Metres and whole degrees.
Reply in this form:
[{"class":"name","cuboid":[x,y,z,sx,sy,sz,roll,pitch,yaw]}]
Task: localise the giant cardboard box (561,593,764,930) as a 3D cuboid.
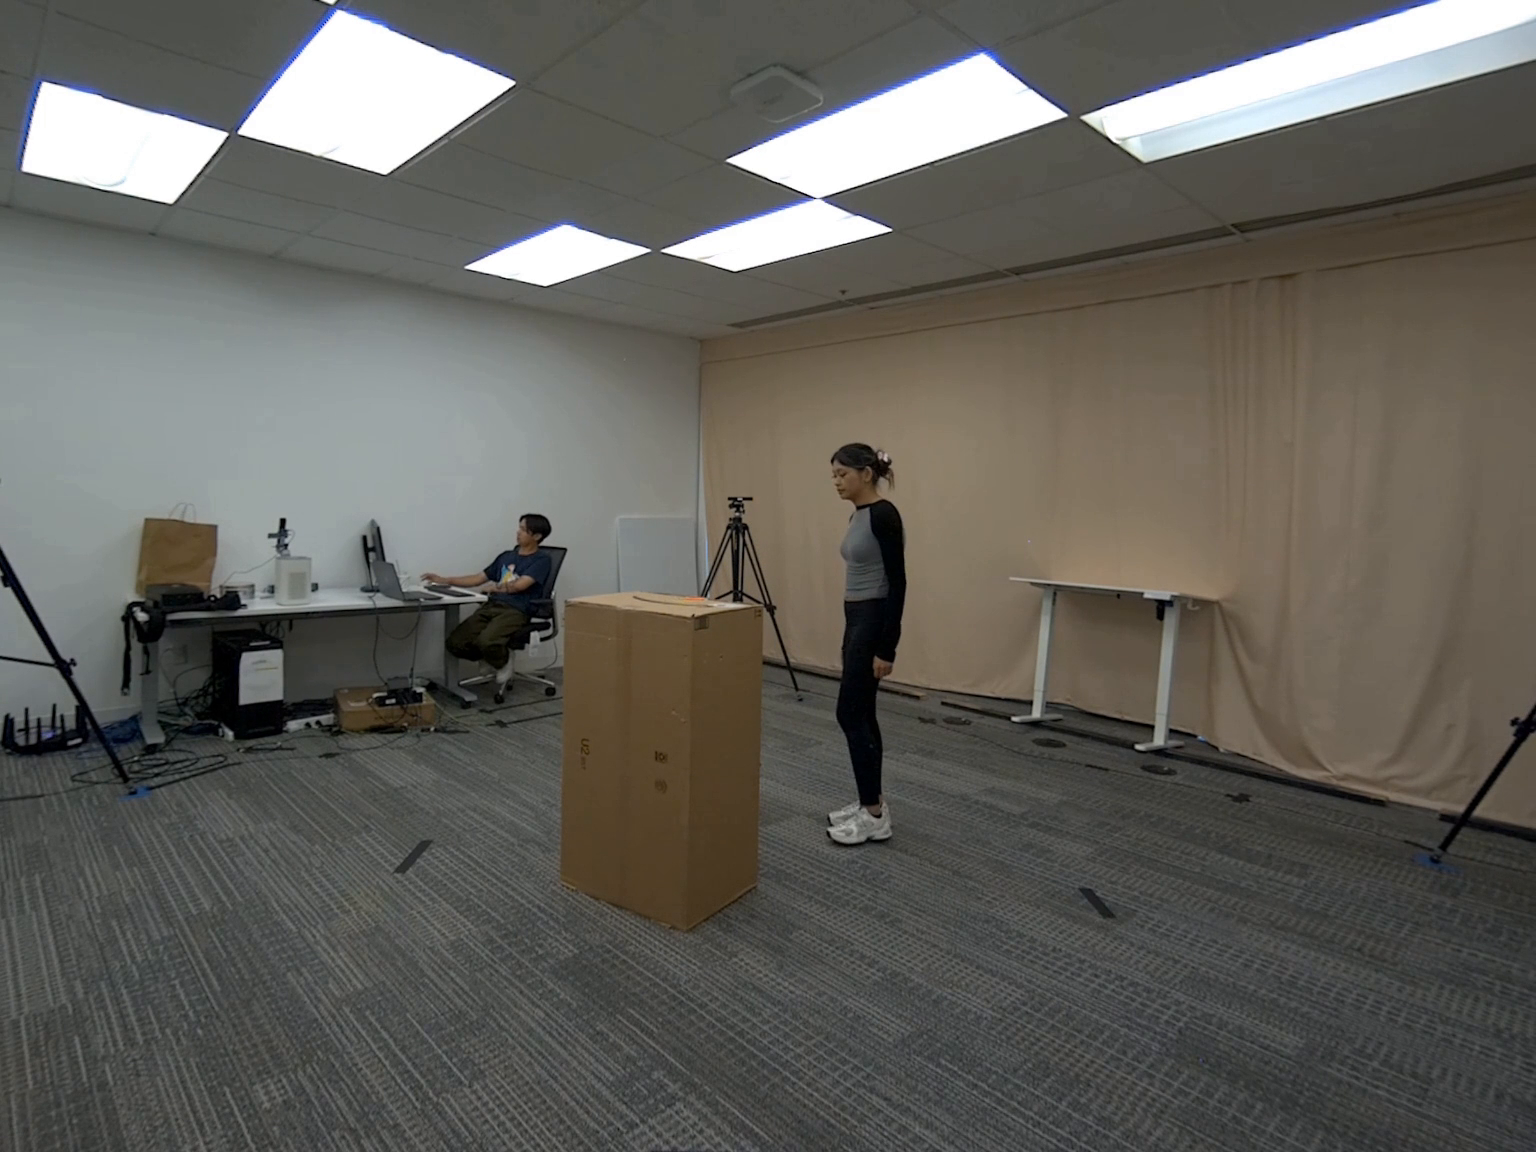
[{"class":"giant cardboard box","cuboid":[-0.383,0.603,3.000,0.591,1.023,0.417,4,4,35]}]
